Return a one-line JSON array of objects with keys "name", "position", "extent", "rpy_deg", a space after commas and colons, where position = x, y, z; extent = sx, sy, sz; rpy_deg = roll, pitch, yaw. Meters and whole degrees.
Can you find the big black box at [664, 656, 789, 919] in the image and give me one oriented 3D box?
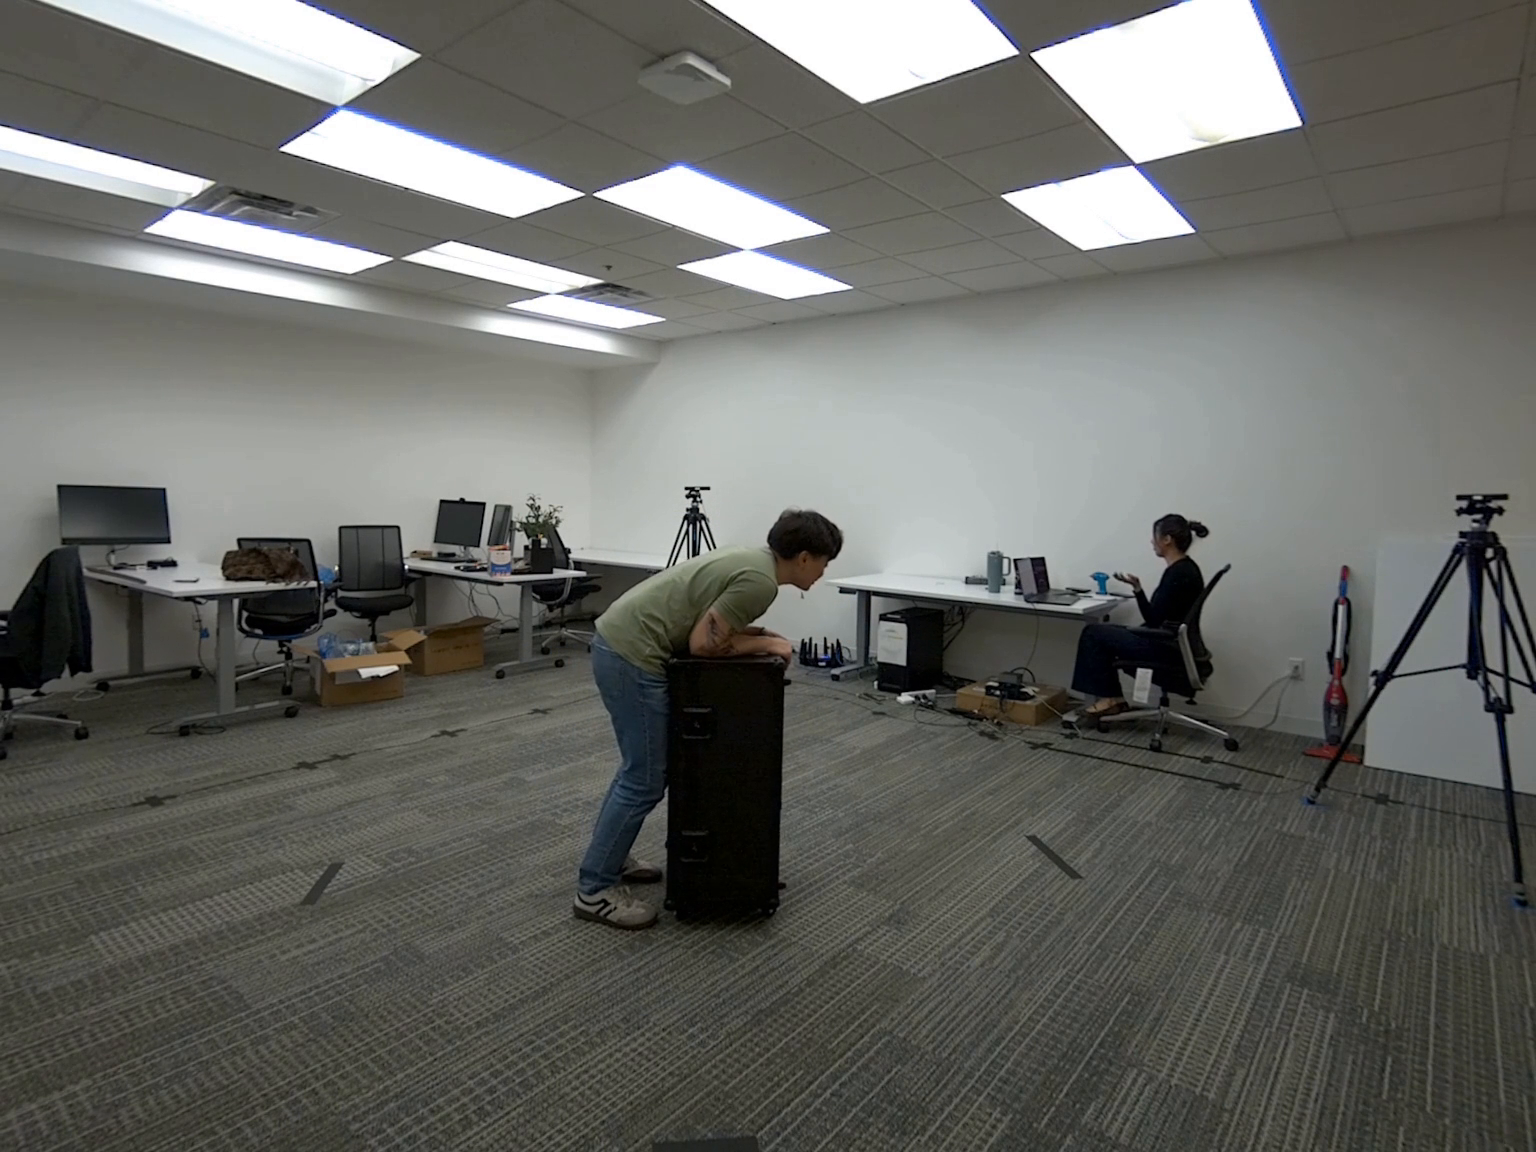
[{"name": "big black box", "position": [-0.148, 0.672, 2.887], "extent": [0.394, 0.859, 0.525], "rpy_deg": [1, 3, -6]}]
